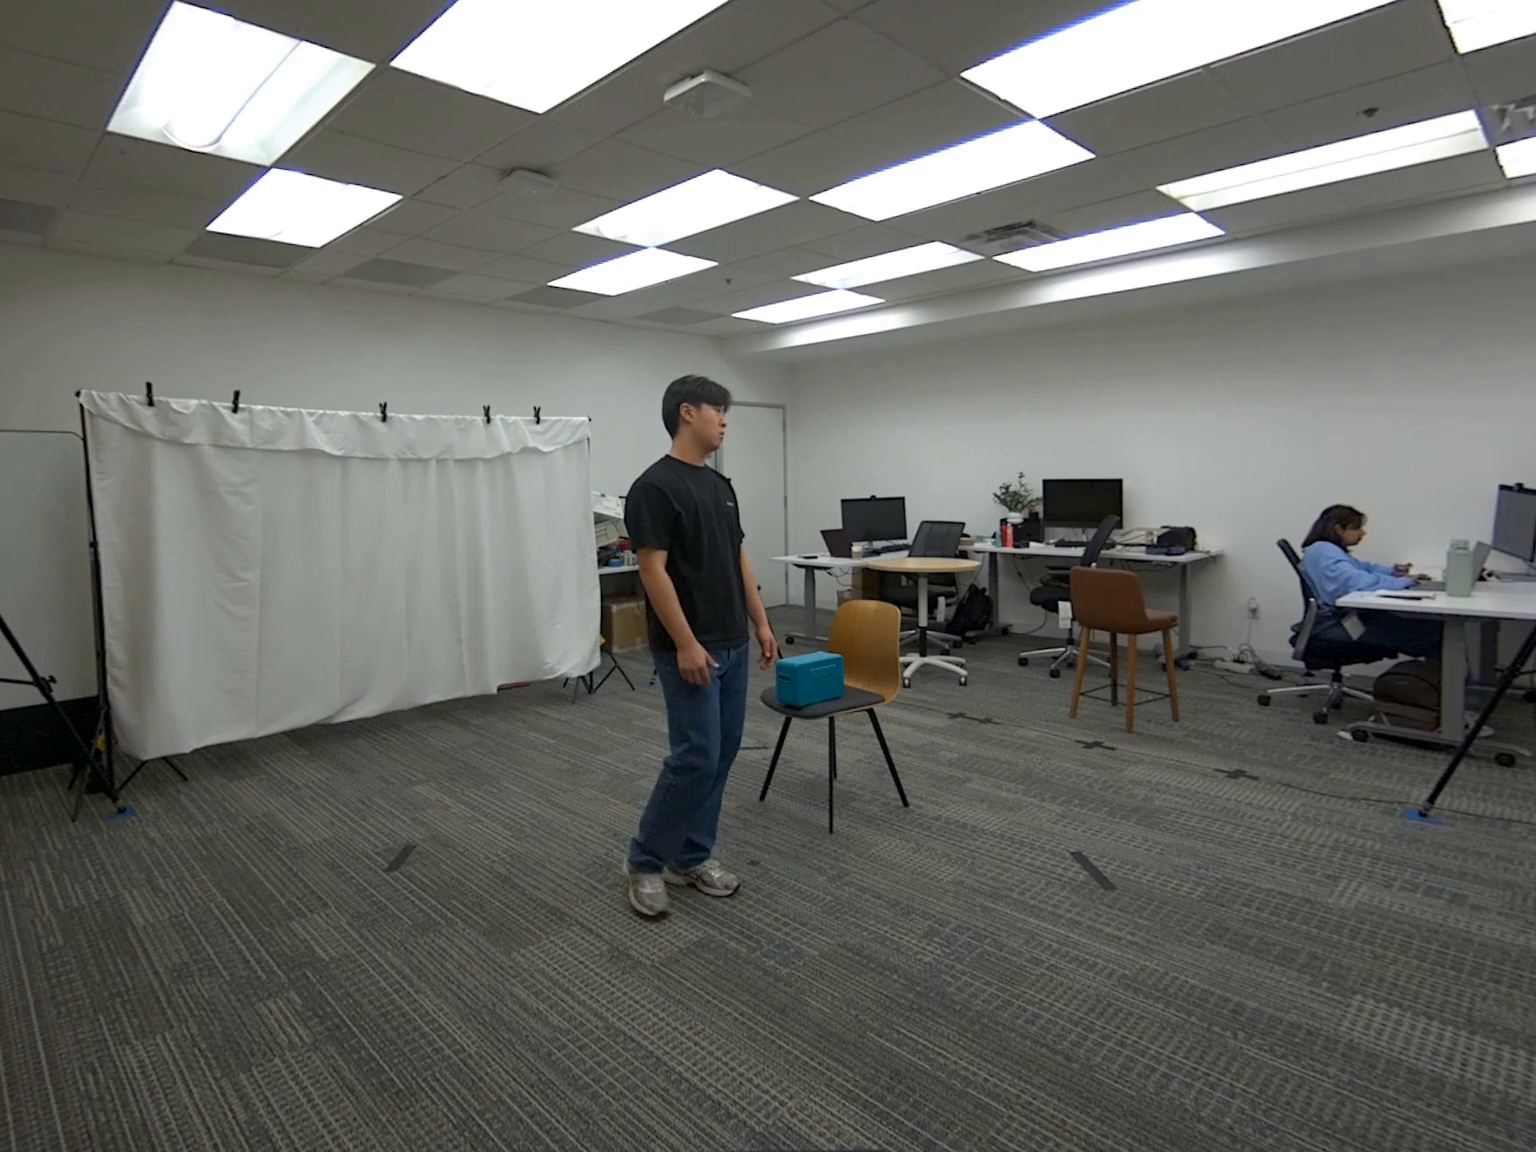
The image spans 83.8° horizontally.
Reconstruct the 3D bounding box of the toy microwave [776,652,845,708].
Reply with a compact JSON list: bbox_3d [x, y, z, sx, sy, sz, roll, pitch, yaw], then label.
[{"bbox_3d":[0.172,0.422,3.527,0.279,0.183,0.157,-5,5,-40],"label":"toy microwave"}]
